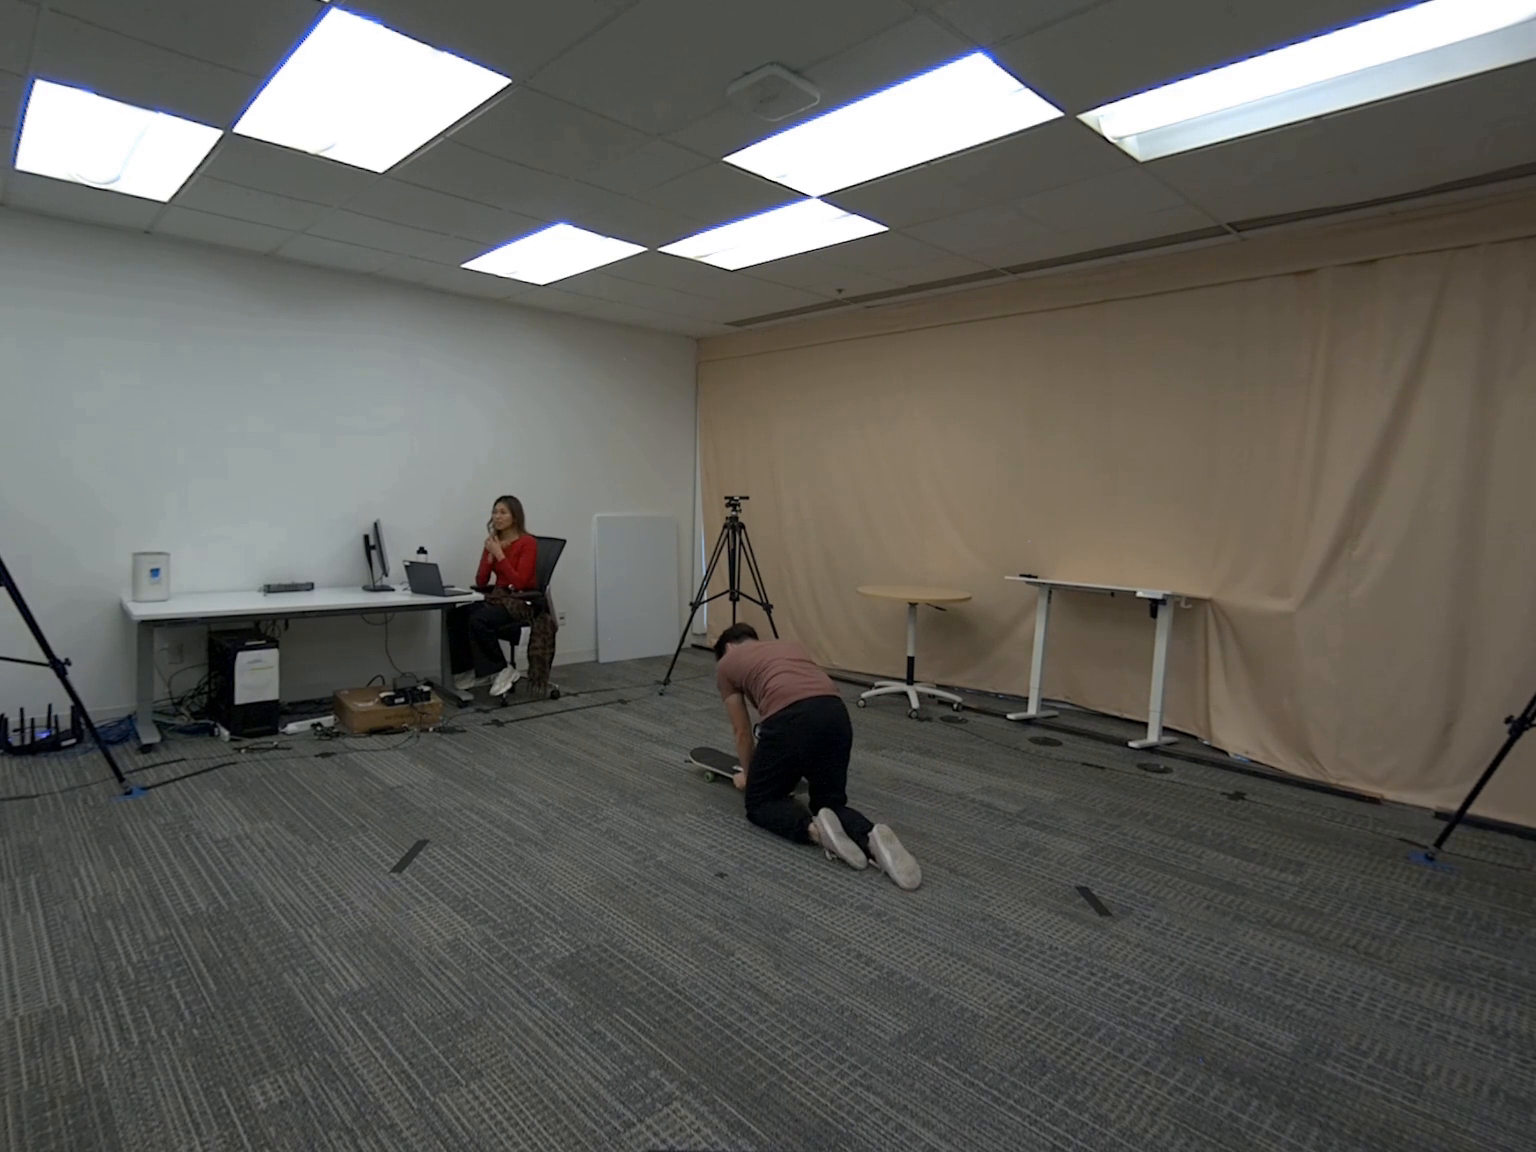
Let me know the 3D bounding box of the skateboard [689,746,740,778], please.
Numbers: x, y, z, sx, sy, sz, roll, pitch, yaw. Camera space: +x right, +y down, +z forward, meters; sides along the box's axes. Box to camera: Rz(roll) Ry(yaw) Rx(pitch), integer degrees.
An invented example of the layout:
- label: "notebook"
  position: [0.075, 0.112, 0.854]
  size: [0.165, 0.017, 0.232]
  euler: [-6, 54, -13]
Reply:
- label: "skateboard"
  position: [-0.101, 0.974, 4.049]
  size: [0.189, 0.110, 0.806]
  euler: [-7, 10, -44]
